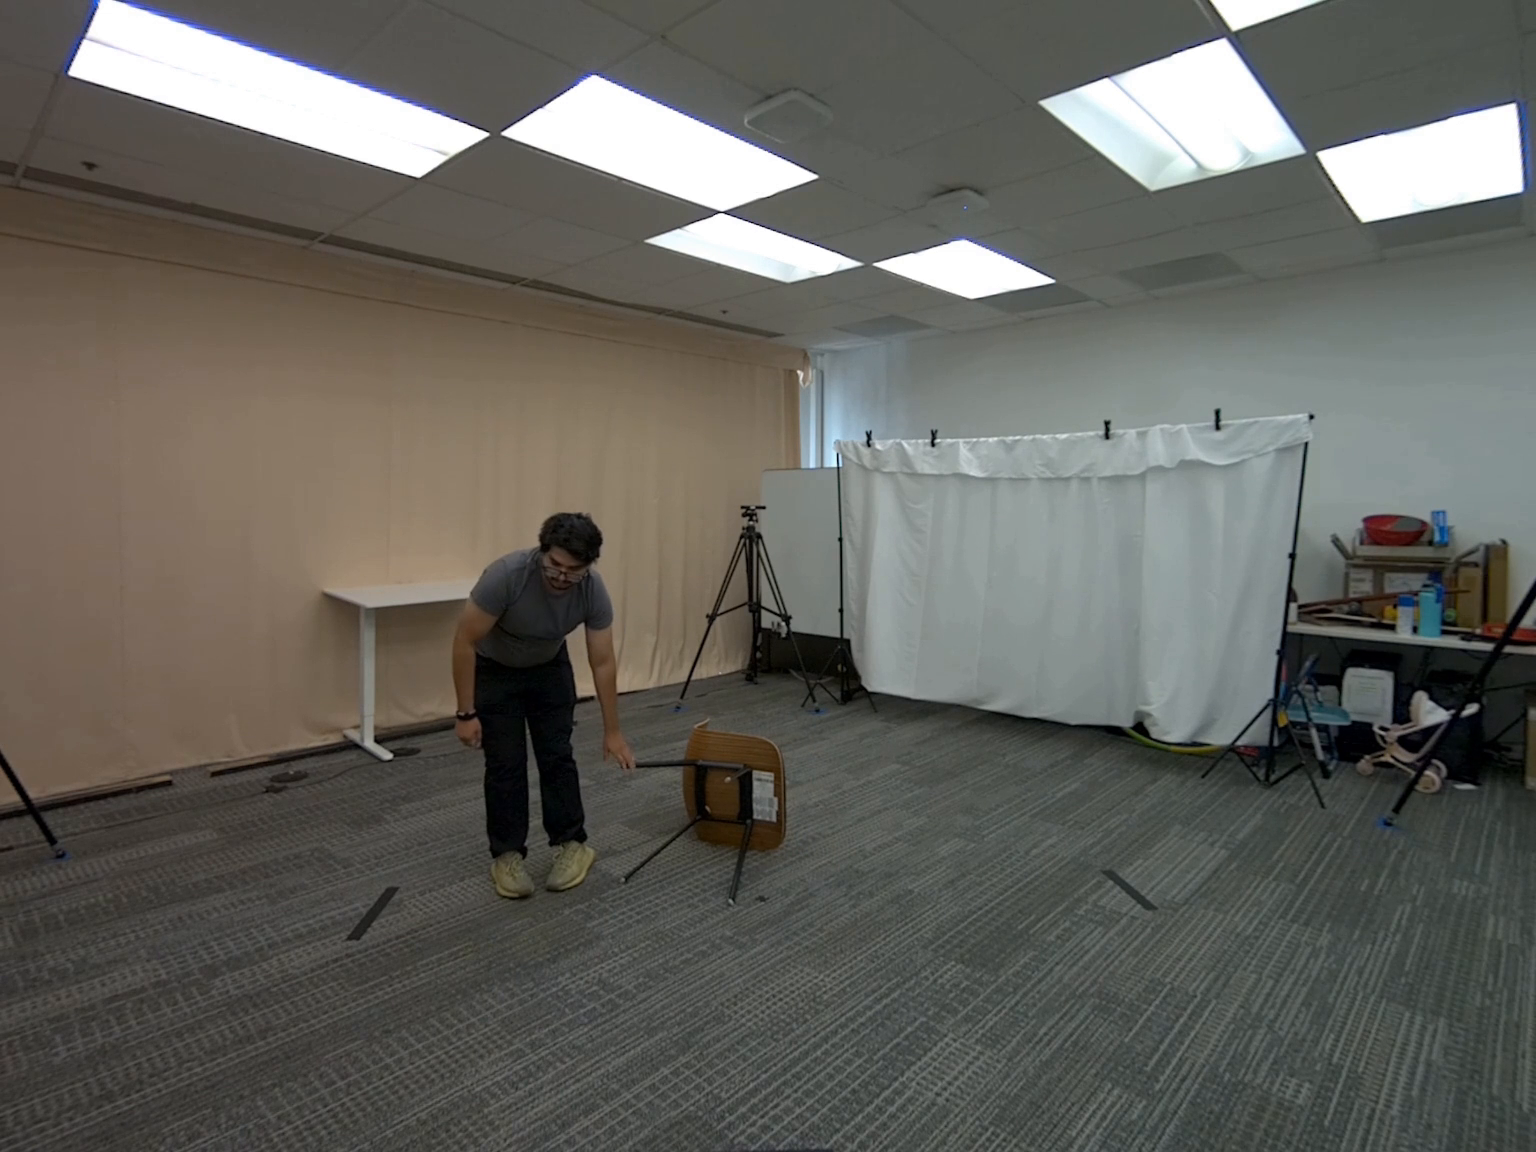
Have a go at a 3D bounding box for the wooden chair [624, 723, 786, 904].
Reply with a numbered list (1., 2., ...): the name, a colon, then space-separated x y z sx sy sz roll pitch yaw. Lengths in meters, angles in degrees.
1. wooden chair: -0.179 0.877 3.399 0.533 0.477 0.863 -1 4 17
